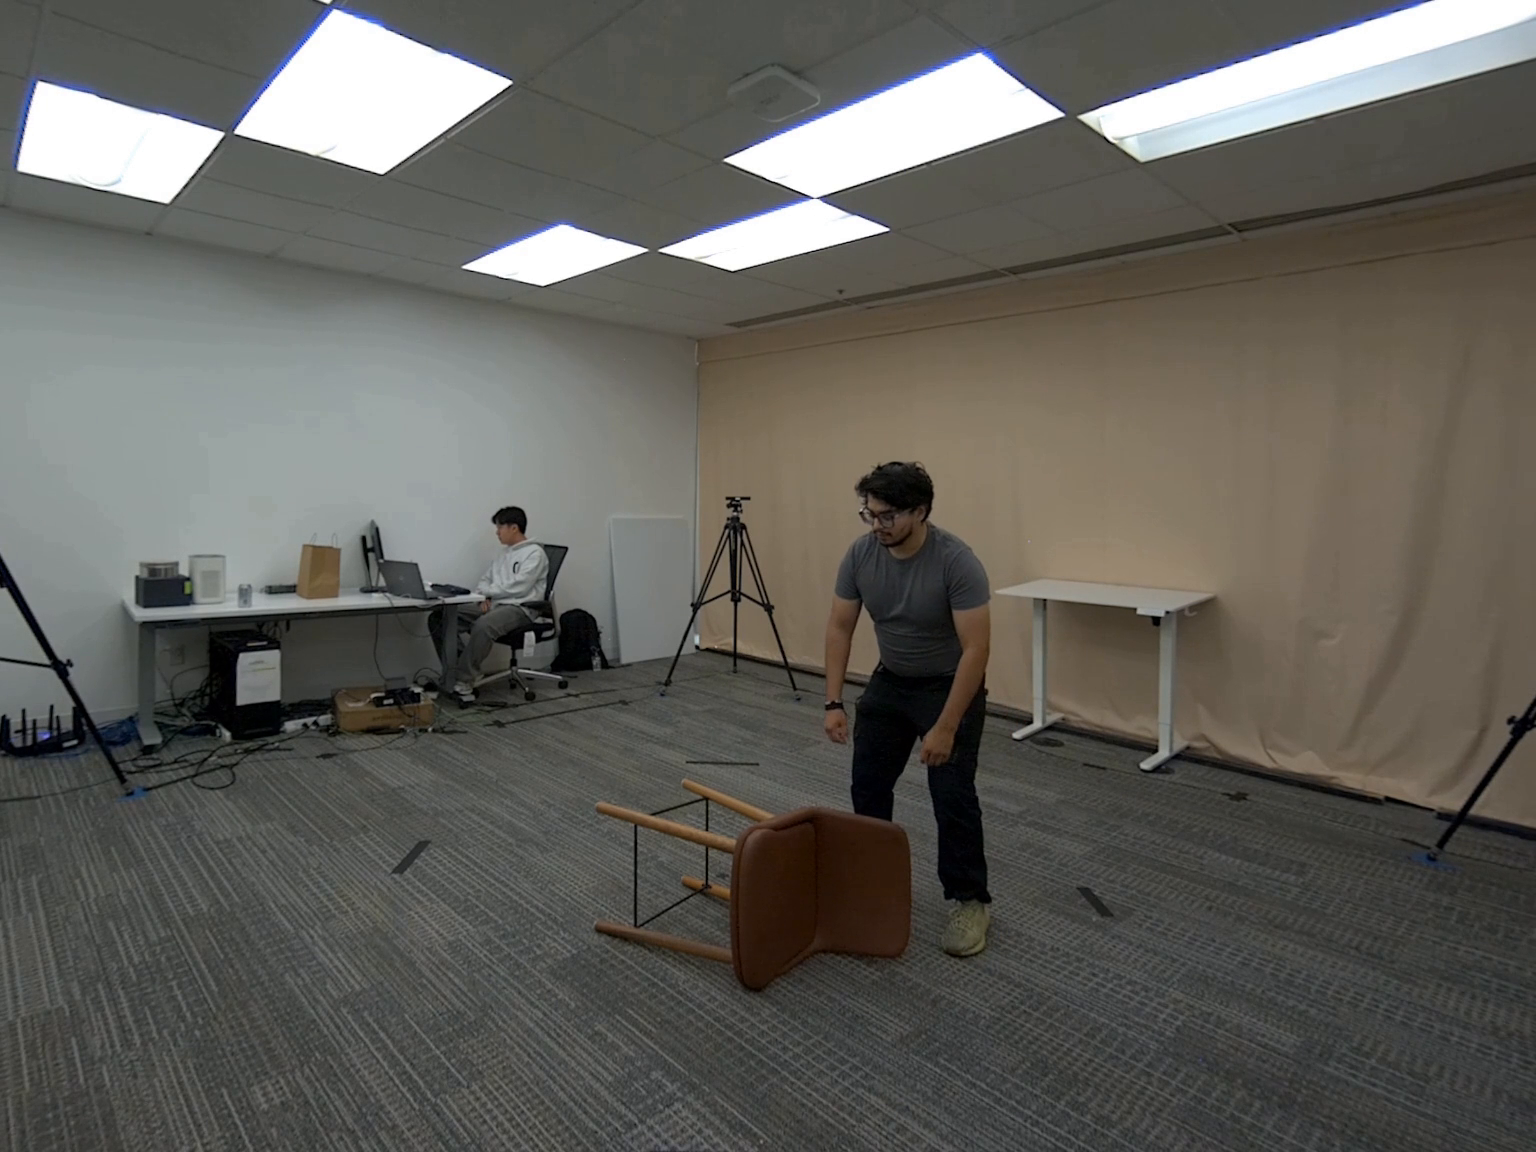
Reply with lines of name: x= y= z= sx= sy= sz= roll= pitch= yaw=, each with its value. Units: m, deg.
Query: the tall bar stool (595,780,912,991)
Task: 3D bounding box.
tall bar stool: x=-0.074 y=0.942 z=2.602 sx=0.910 sy=0.456 sz=0.457 roll=2 pitch=2 yaw=35
